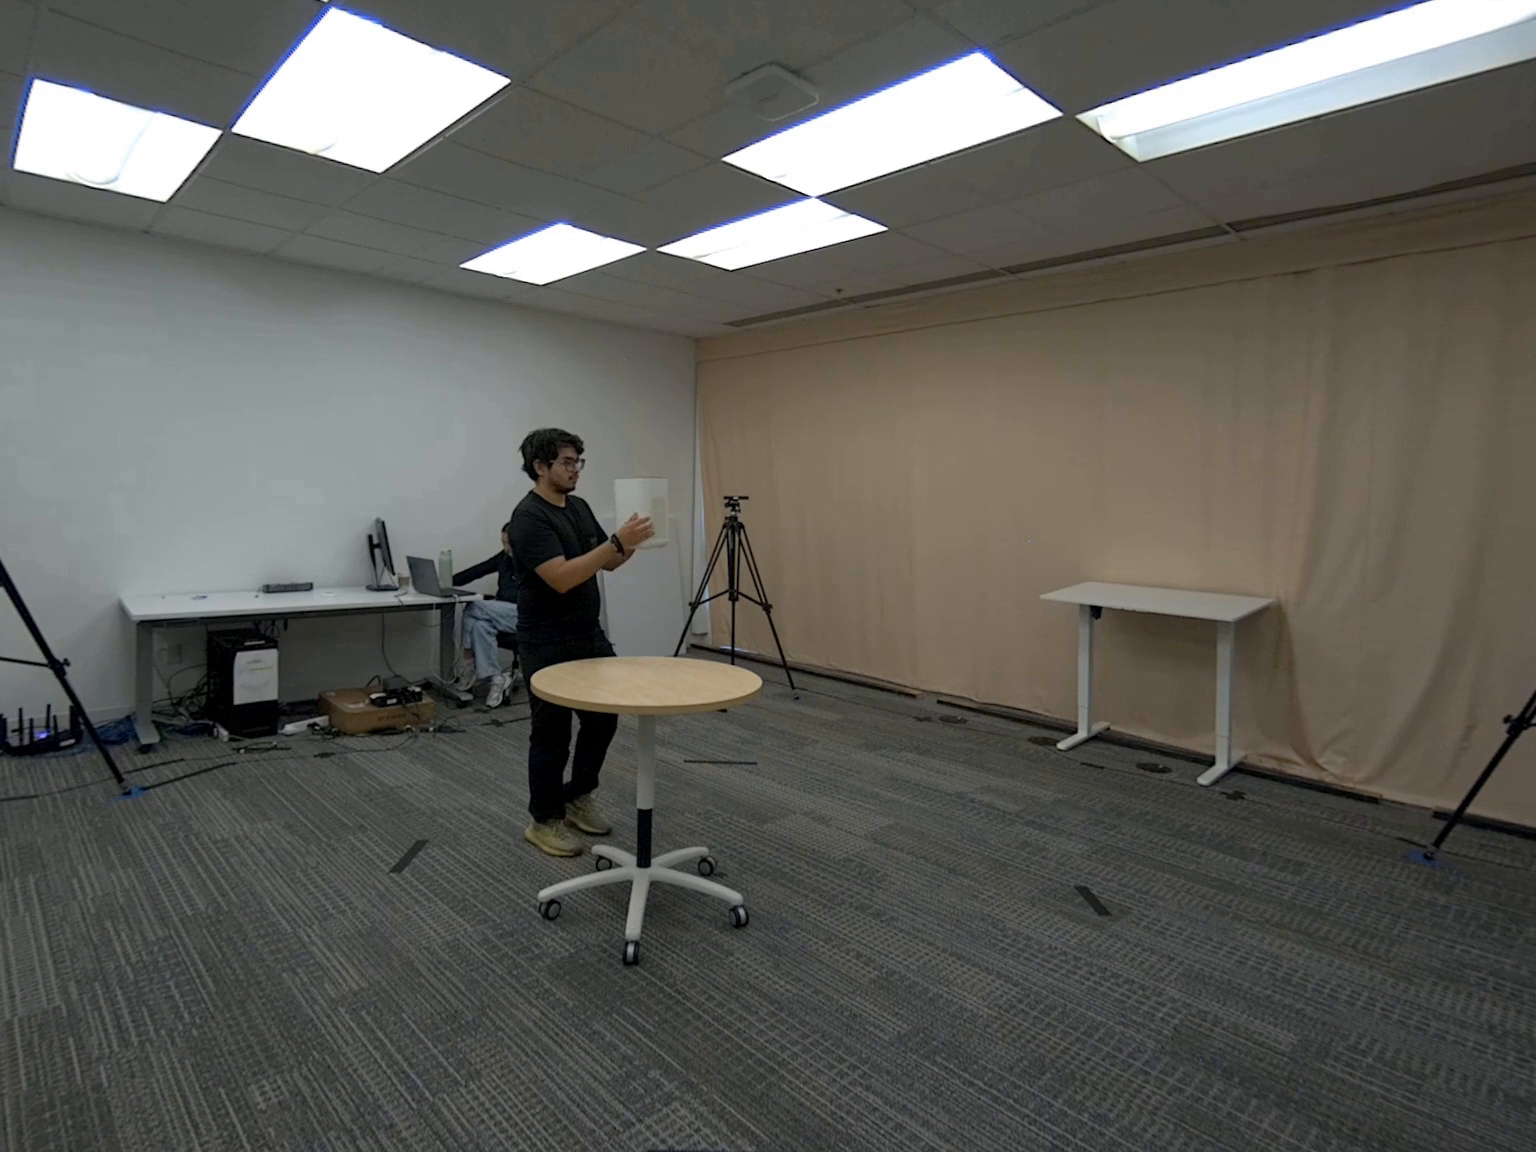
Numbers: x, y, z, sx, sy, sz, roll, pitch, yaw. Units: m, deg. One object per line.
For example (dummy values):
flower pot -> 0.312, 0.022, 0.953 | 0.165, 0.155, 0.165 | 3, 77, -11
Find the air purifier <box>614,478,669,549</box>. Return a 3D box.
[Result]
air purifier -> -0.484, -0.242, 3.149 | 0.174, 0.265, 0.168 | 2, 3, 27
